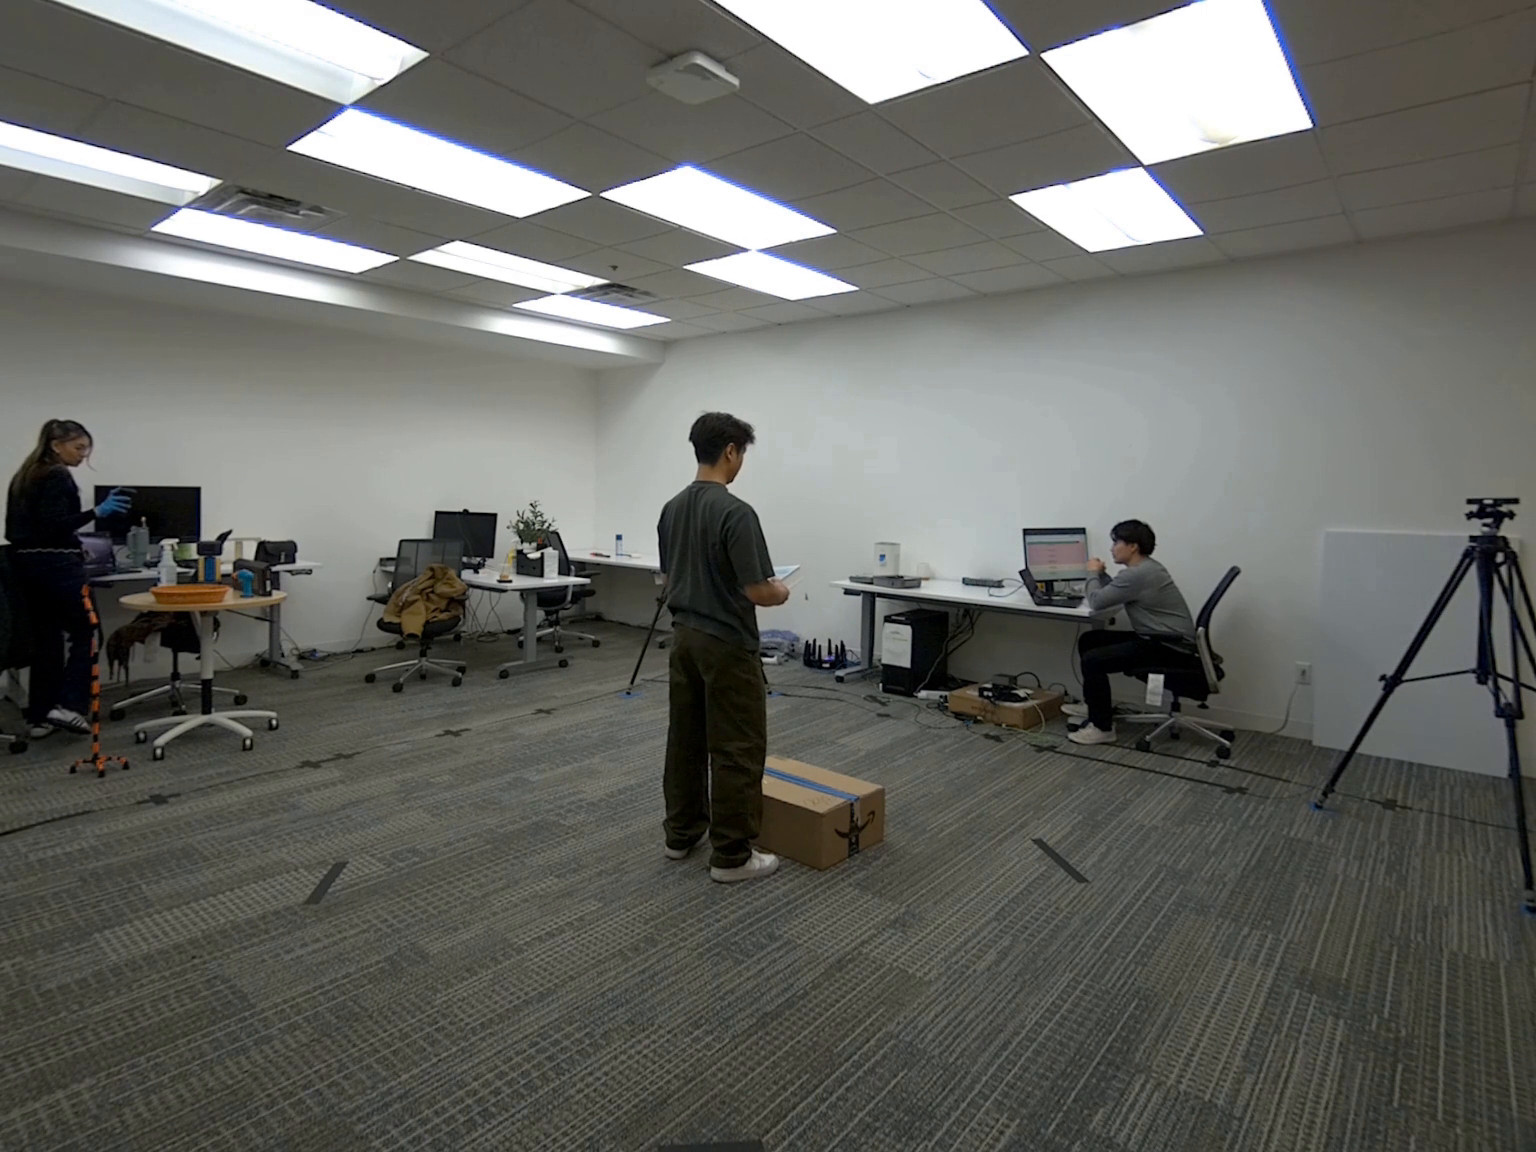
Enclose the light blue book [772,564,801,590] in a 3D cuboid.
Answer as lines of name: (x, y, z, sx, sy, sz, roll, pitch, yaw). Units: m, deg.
light blue book: (-0.008, 0.032, 3.332, 0.197, 0.058, 0.258, -4, 19, 38)
